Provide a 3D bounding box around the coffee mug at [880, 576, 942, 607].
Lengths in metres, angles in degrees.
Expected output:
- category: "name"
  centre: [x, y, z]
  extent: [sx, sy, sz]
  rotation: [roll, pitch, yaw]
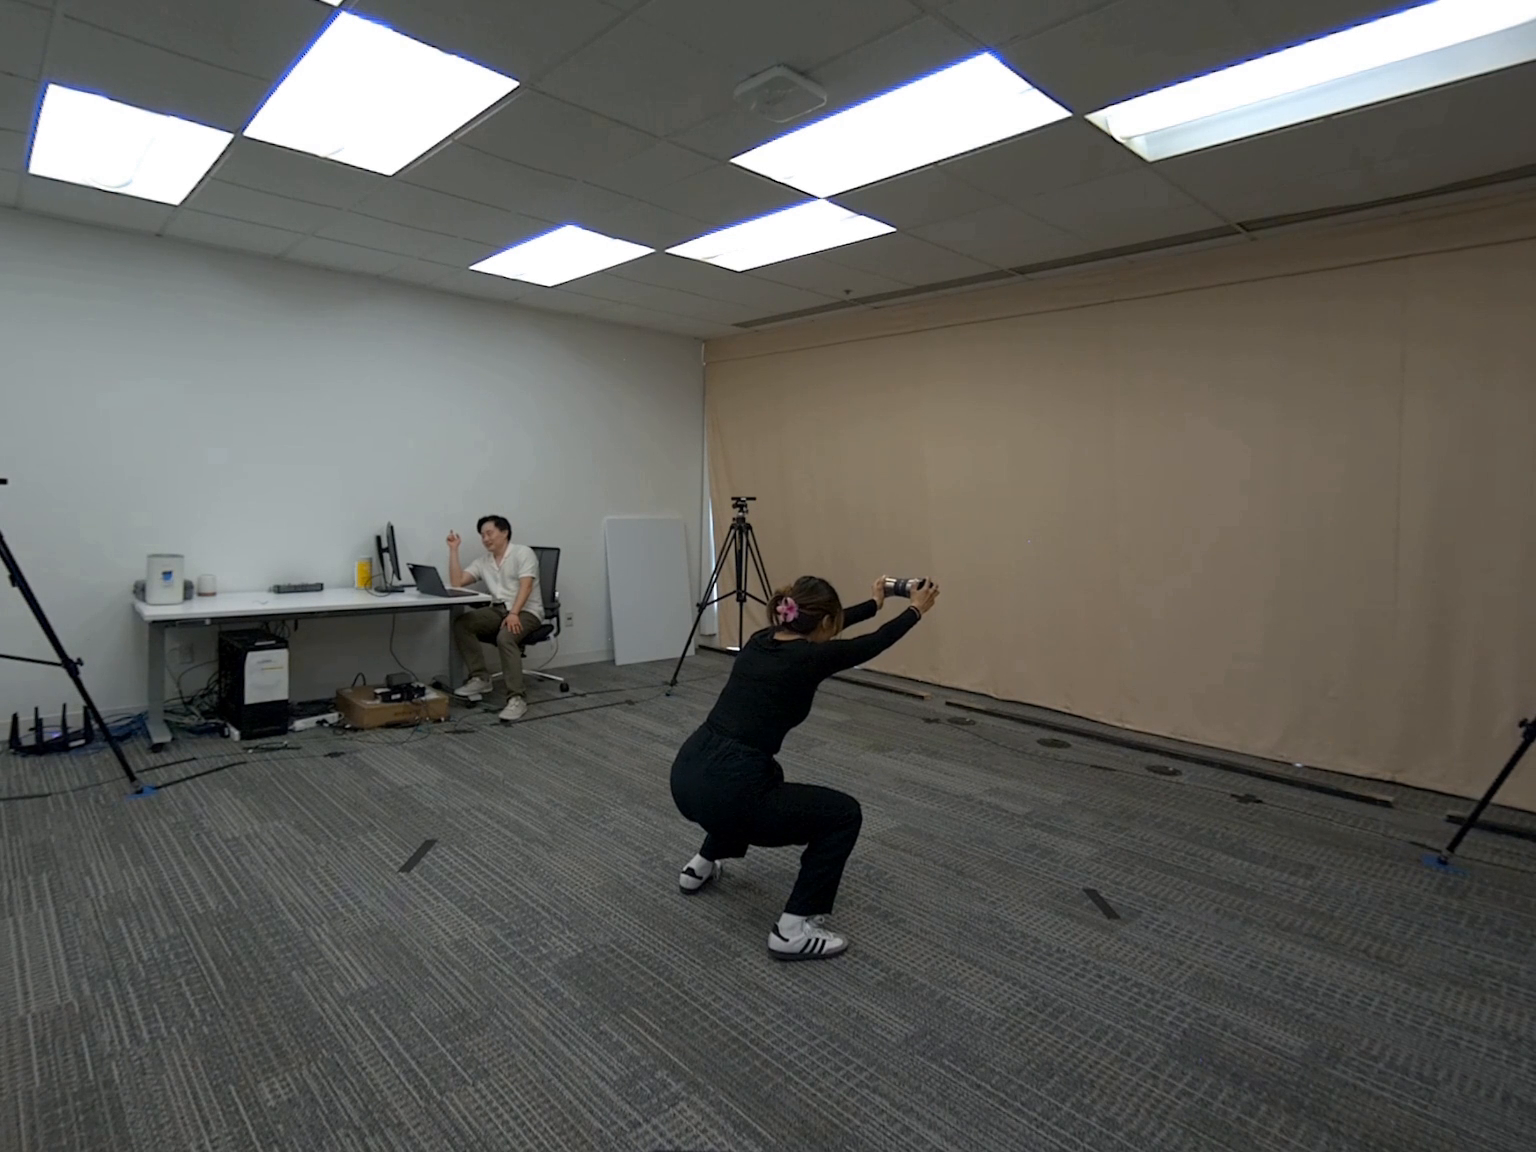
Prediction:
- category: "coffee mug"
  centre: [0.539, 0.055, 3.238]
  extent: [0.119, 0.088, 0.208]
  rotation: [5, 1, -33]
